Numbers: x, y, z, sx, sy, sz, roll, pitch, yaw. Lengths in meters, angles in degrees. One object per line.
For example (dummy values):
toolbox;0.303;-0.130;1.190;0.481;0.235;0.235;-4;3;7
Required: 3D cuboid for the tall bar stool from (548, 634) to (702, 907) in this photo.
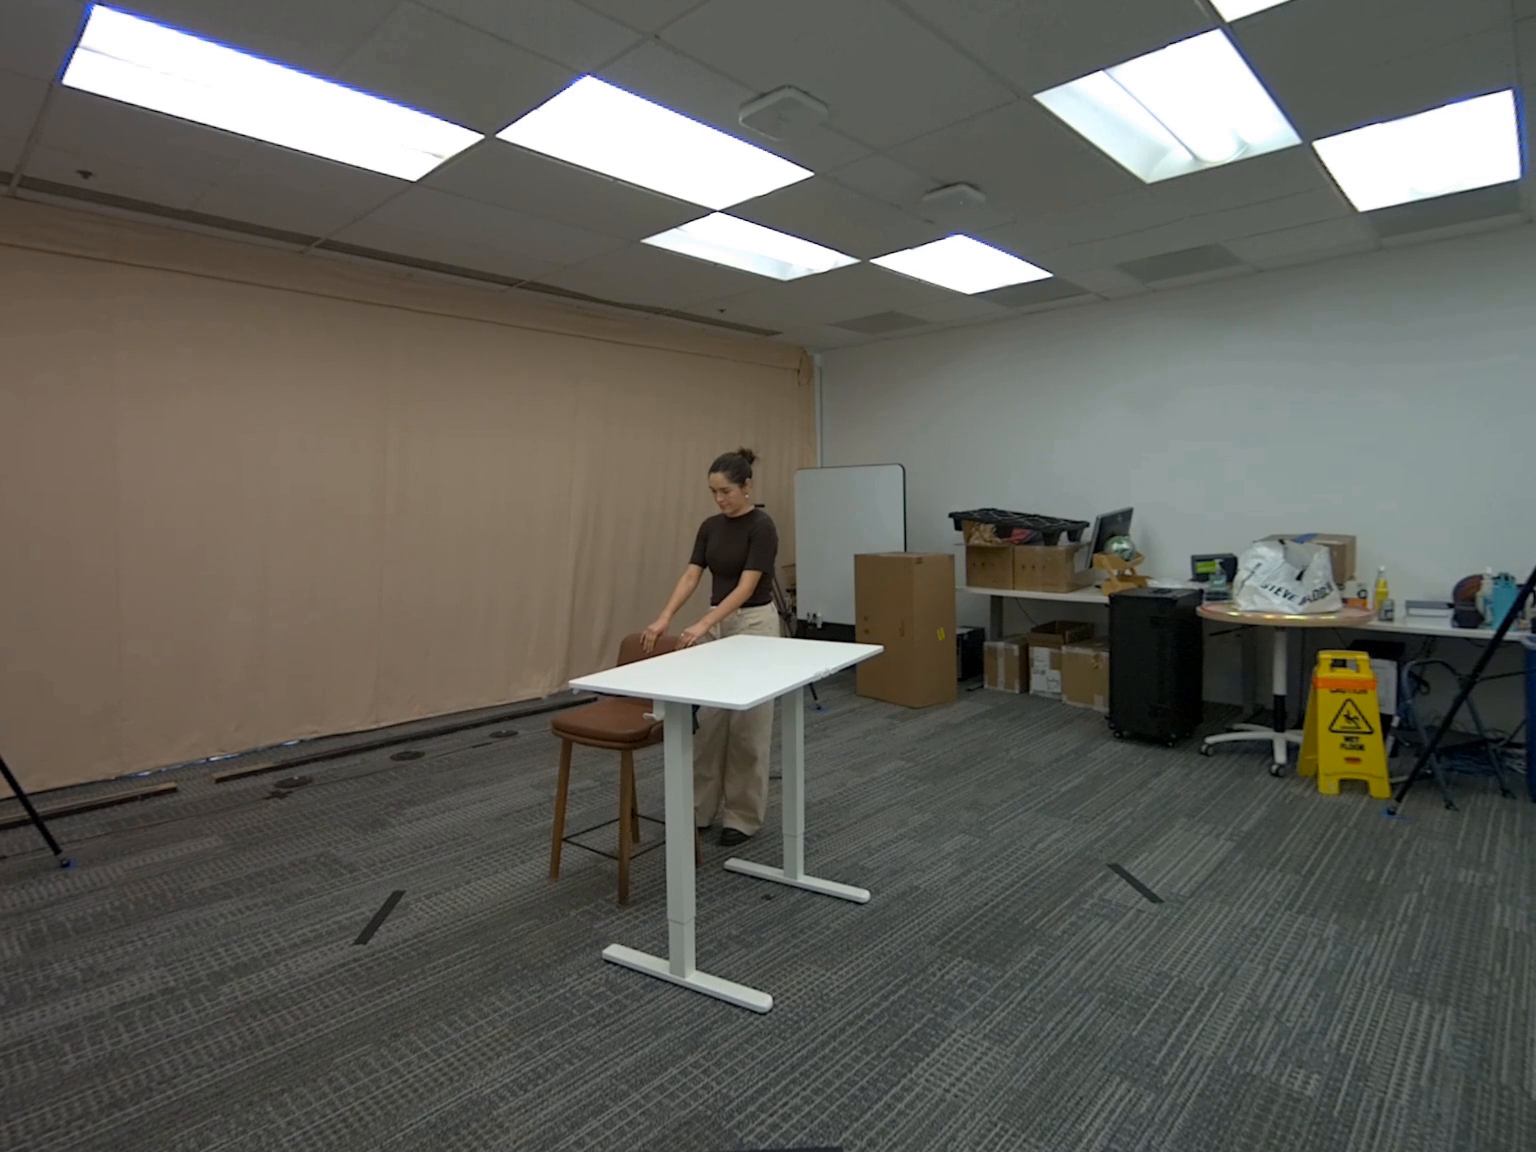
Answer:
tall bar stool;-0.540;0.696;3.214;0.471;0.889;0.453;1;2;37
